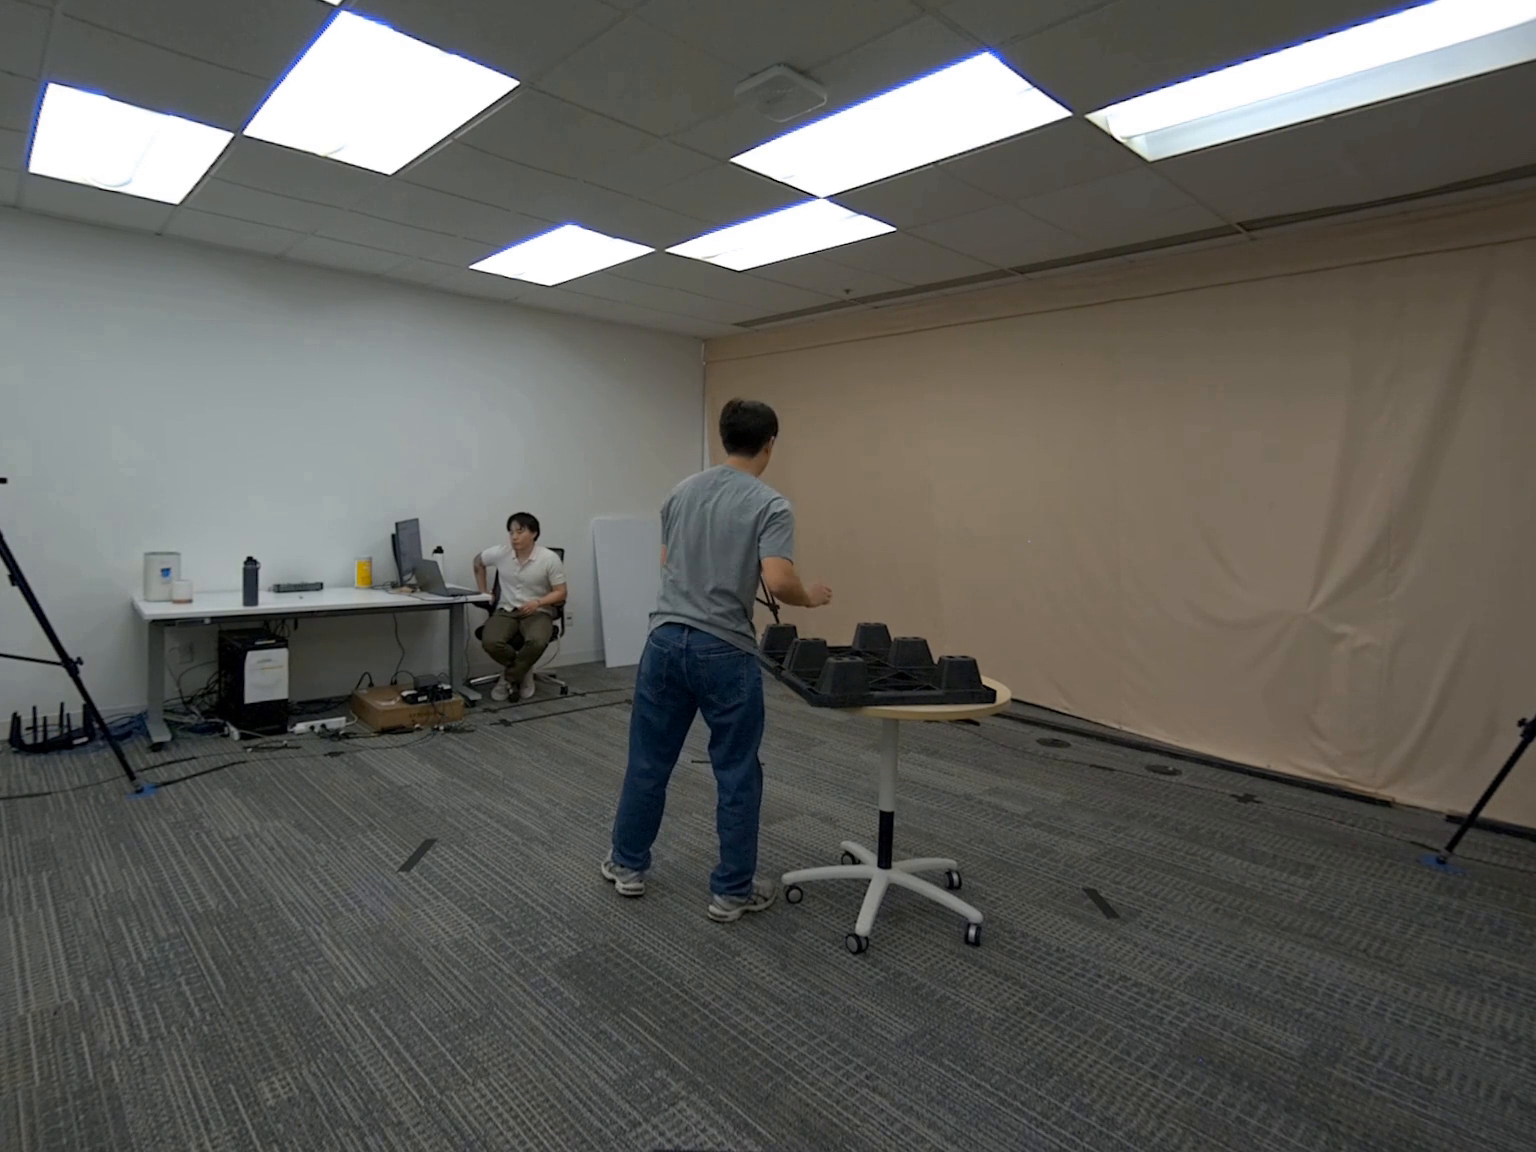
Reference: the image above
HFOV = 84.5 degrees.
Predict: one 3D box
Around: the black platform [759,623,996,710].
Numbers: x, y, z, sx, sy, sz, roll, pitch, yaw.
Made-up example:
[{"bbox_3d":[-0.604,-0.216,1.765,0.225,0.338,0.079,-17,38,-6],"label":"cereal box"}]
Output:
[{"bbox_3d":[0.309,0.286,2.911,0.598,0.143,0.817,0,5,-15],"label":"black platform"}]
